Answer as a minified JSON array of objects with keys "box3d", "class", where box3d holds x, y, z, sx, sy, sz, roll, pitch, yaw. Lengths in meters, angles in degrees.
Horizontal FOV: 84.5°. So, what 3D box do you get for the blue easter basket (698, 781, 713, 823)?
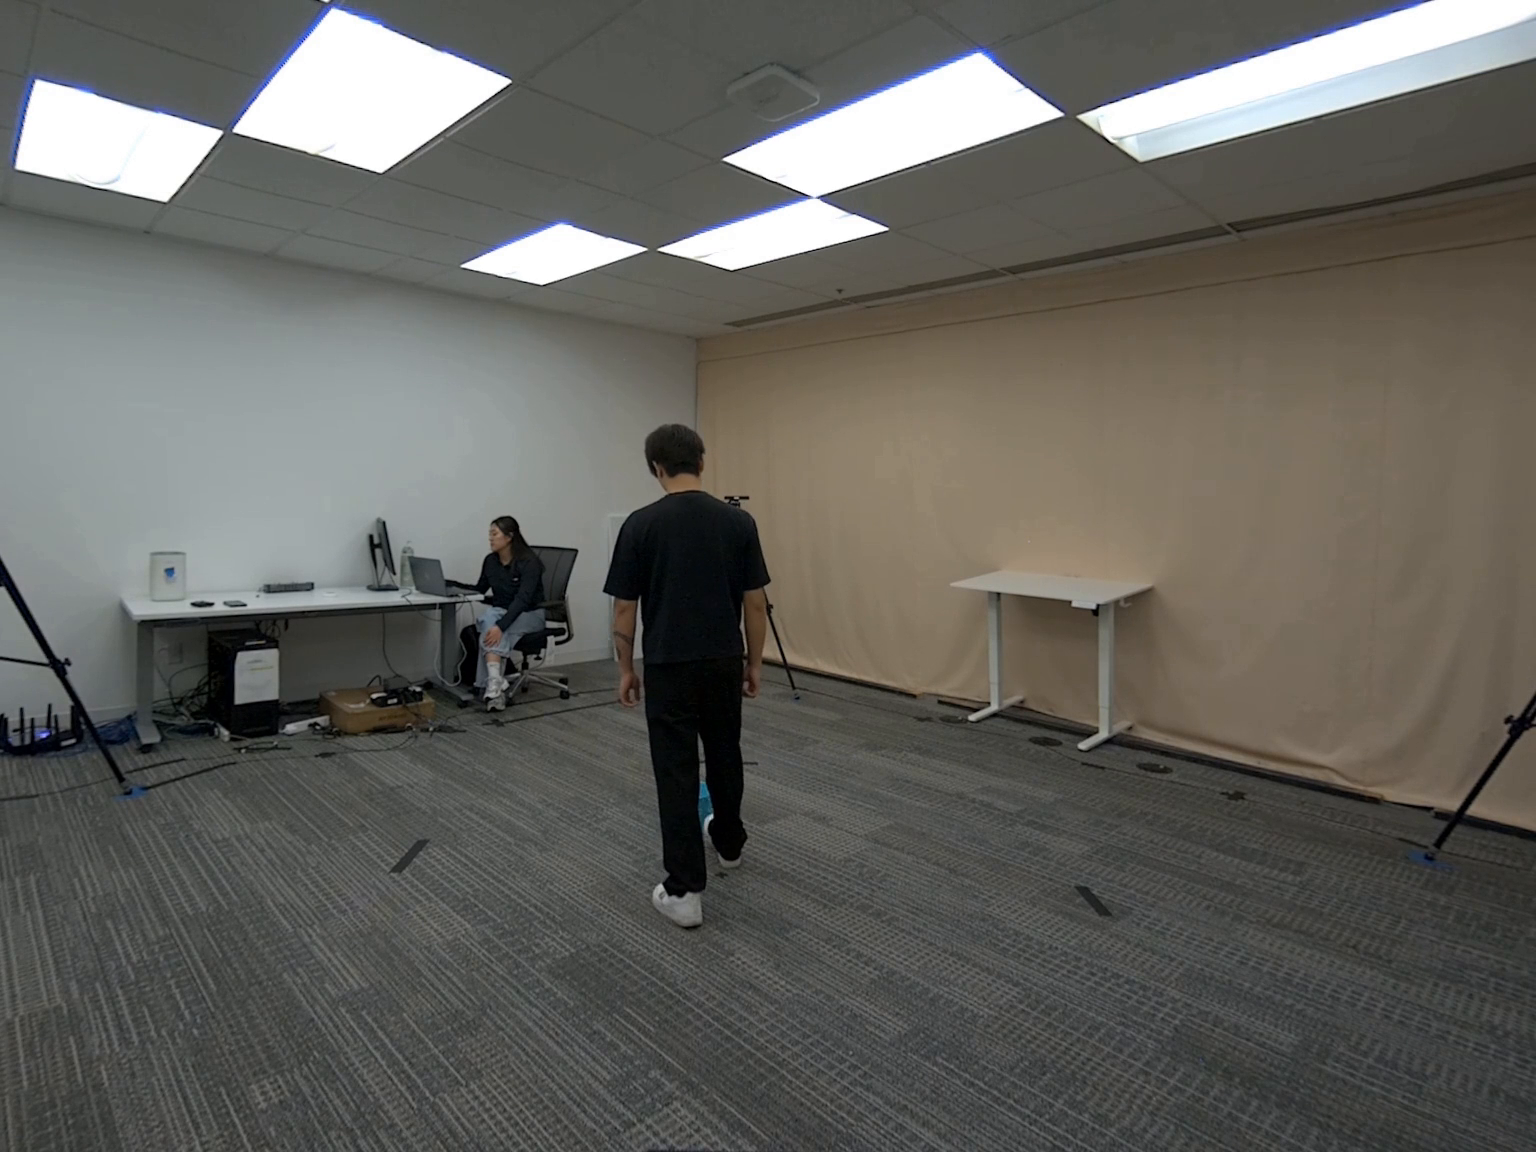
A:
[{"box3d":[-0.342,0.982,3.580,0.243,0.155,0.244,1,5,-1],"class":"blue easter basket"}]
